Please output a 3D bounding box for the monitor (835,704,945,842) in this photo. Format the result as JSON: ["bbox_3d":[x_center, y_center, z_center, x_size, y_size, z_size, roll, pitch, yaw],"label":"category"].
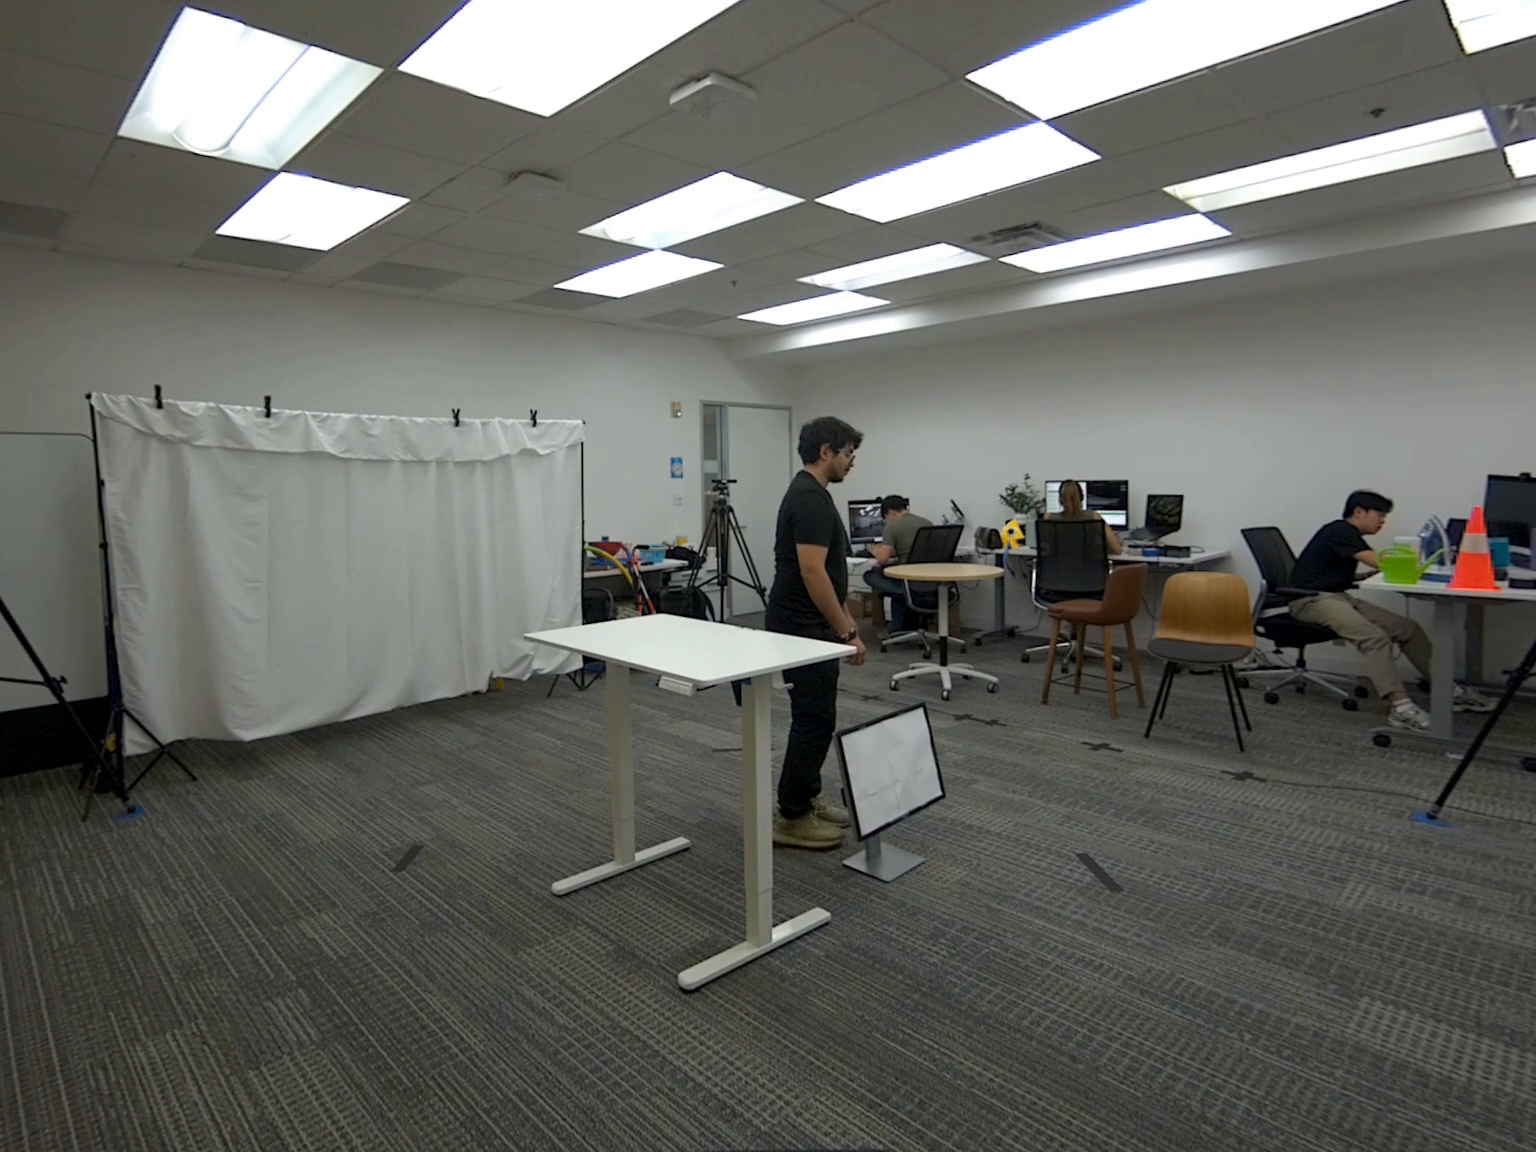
[{"bbox_3d":[0.394,0.773,3.096,0.215,0.554,0.550,-6,0,44],"label":"monitor"}]
